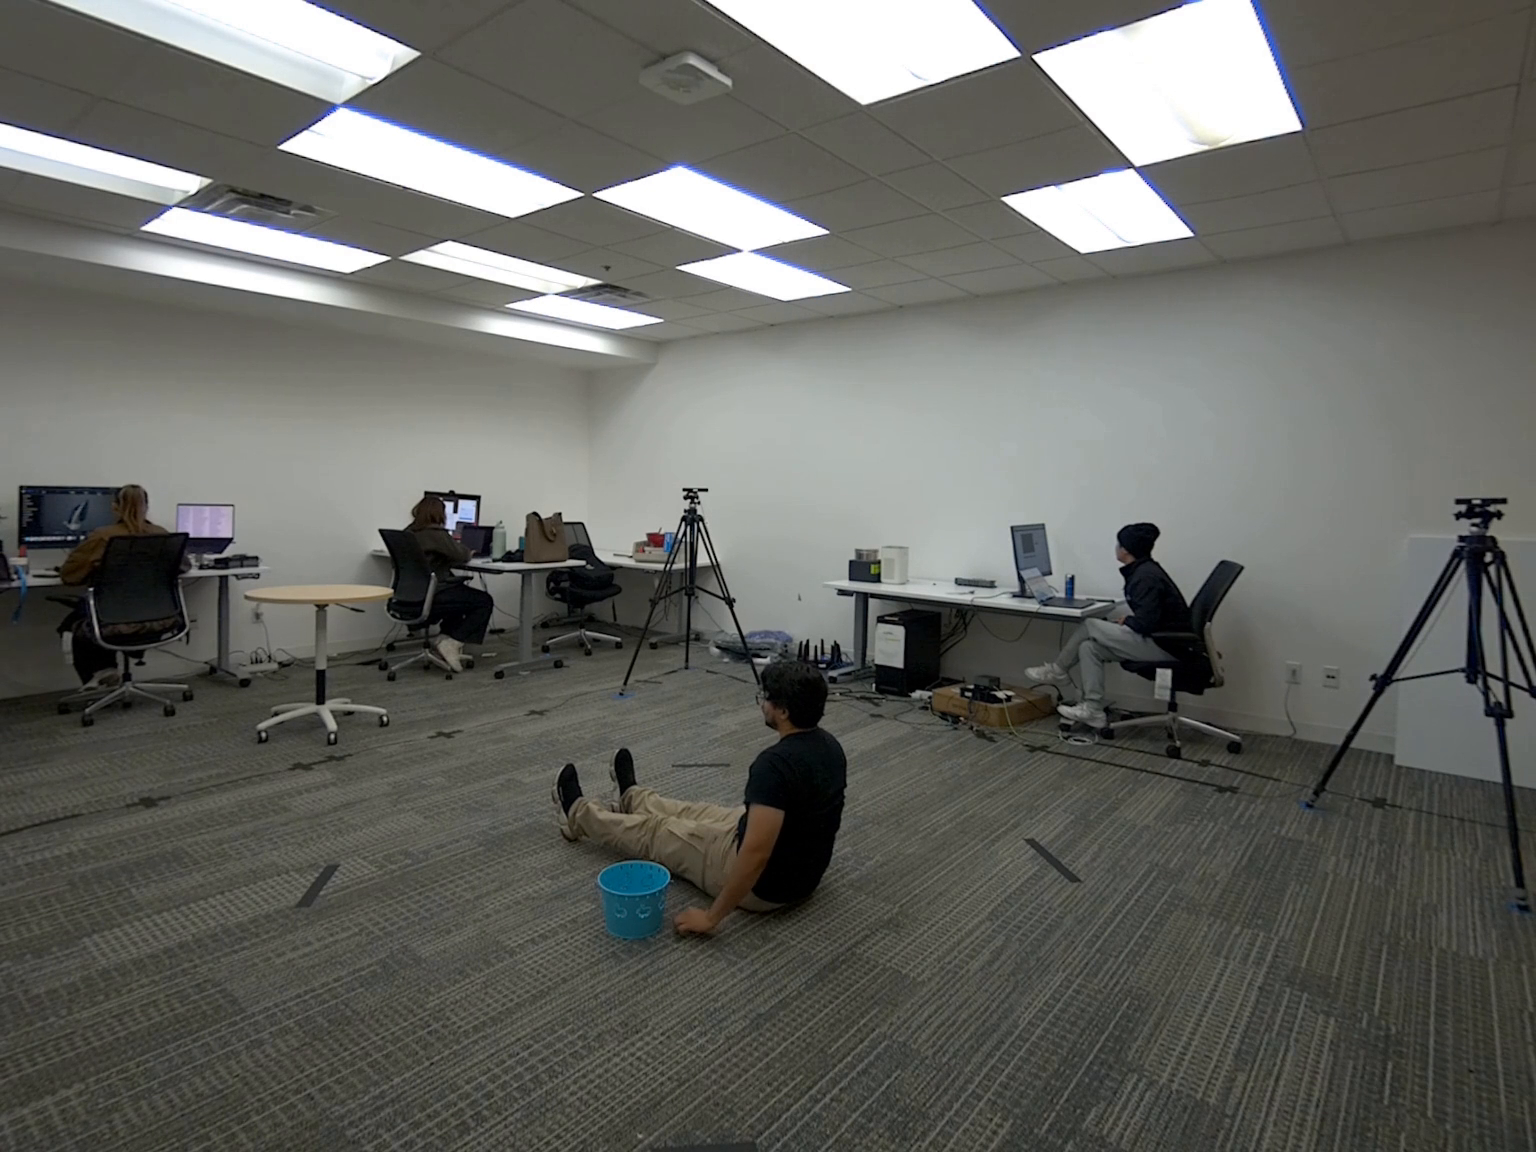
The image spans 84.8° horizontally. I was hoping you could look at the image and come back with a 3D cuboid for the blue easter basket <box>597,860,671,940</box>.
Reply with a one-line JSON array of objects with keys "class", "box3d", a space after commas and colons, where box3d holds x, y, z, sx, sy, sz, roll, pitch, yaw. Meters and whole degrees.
[{"class": "blue easter basket", "box3d": [-0.431, 1.028, 2.710, 0.243, 0.155, 0.245, 0, 6, -2]}]
